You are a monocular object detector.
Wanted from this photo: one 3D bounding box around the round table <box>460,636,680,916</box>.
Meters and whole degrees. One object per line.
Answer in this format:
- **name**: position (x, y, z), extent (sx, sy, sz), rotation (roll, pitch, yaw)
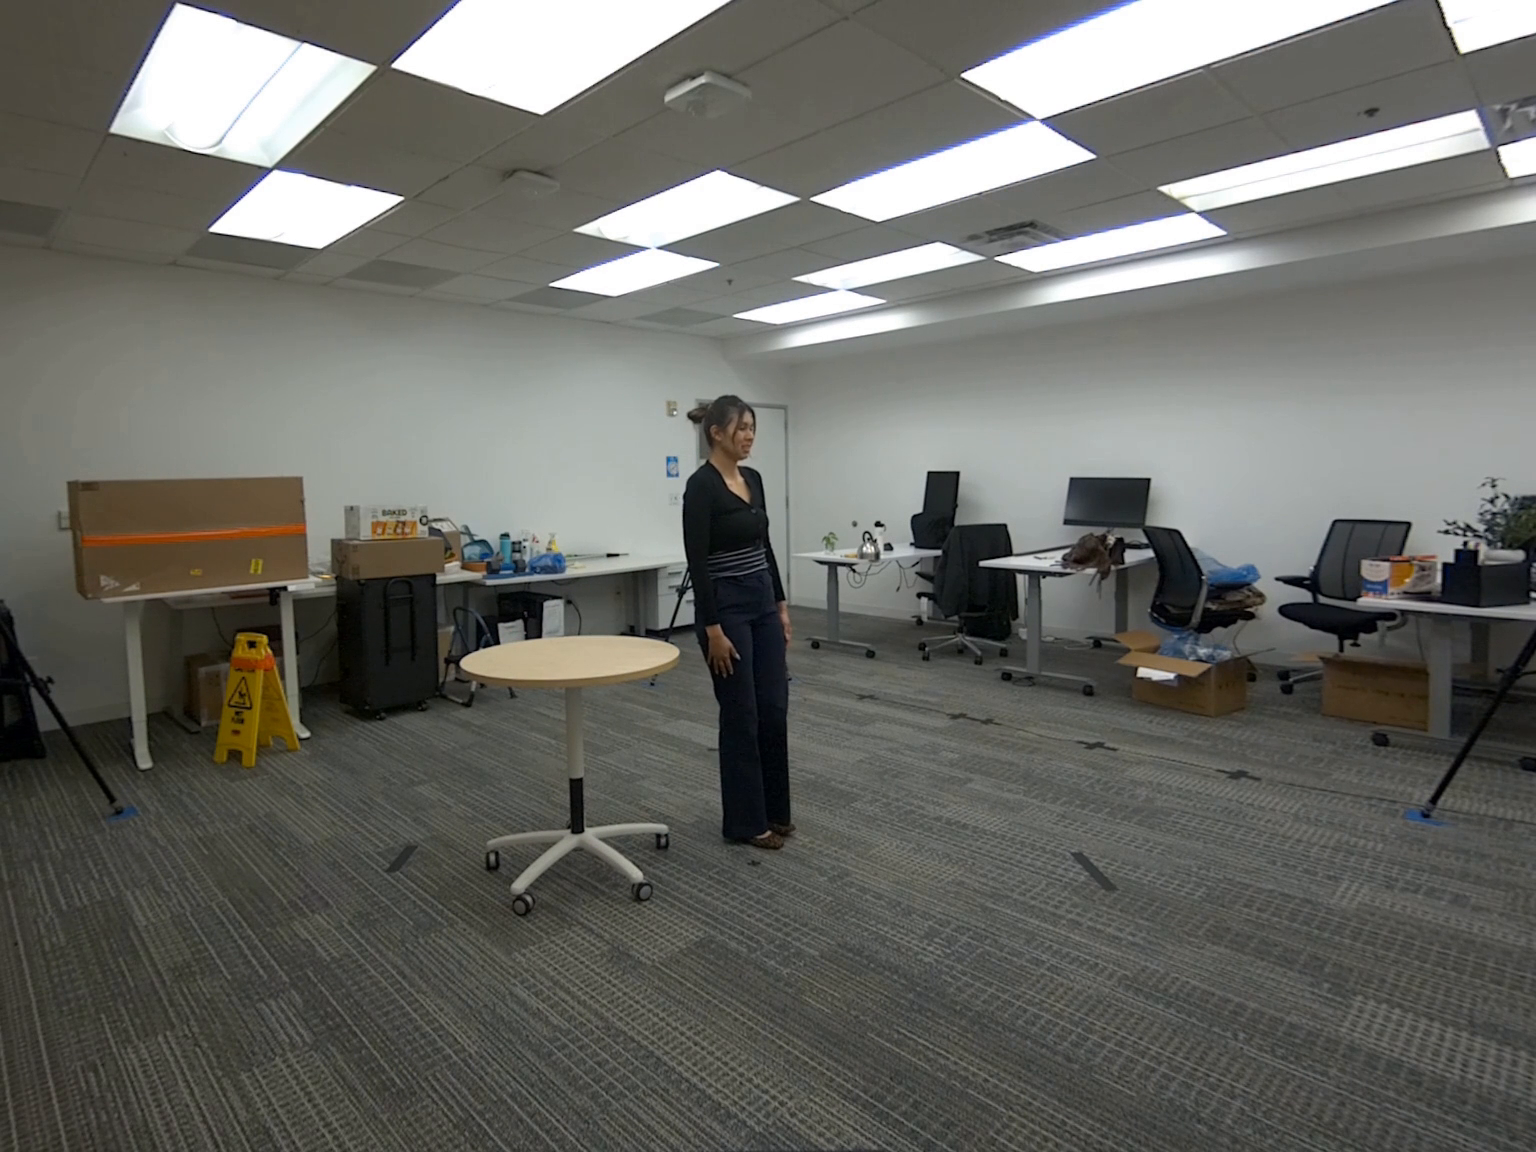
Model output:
- **round table**: position (-0.688, 0.672, 3.055), extent (0.763, 0.791, 0.768), rotation (-1, 5, -2)
